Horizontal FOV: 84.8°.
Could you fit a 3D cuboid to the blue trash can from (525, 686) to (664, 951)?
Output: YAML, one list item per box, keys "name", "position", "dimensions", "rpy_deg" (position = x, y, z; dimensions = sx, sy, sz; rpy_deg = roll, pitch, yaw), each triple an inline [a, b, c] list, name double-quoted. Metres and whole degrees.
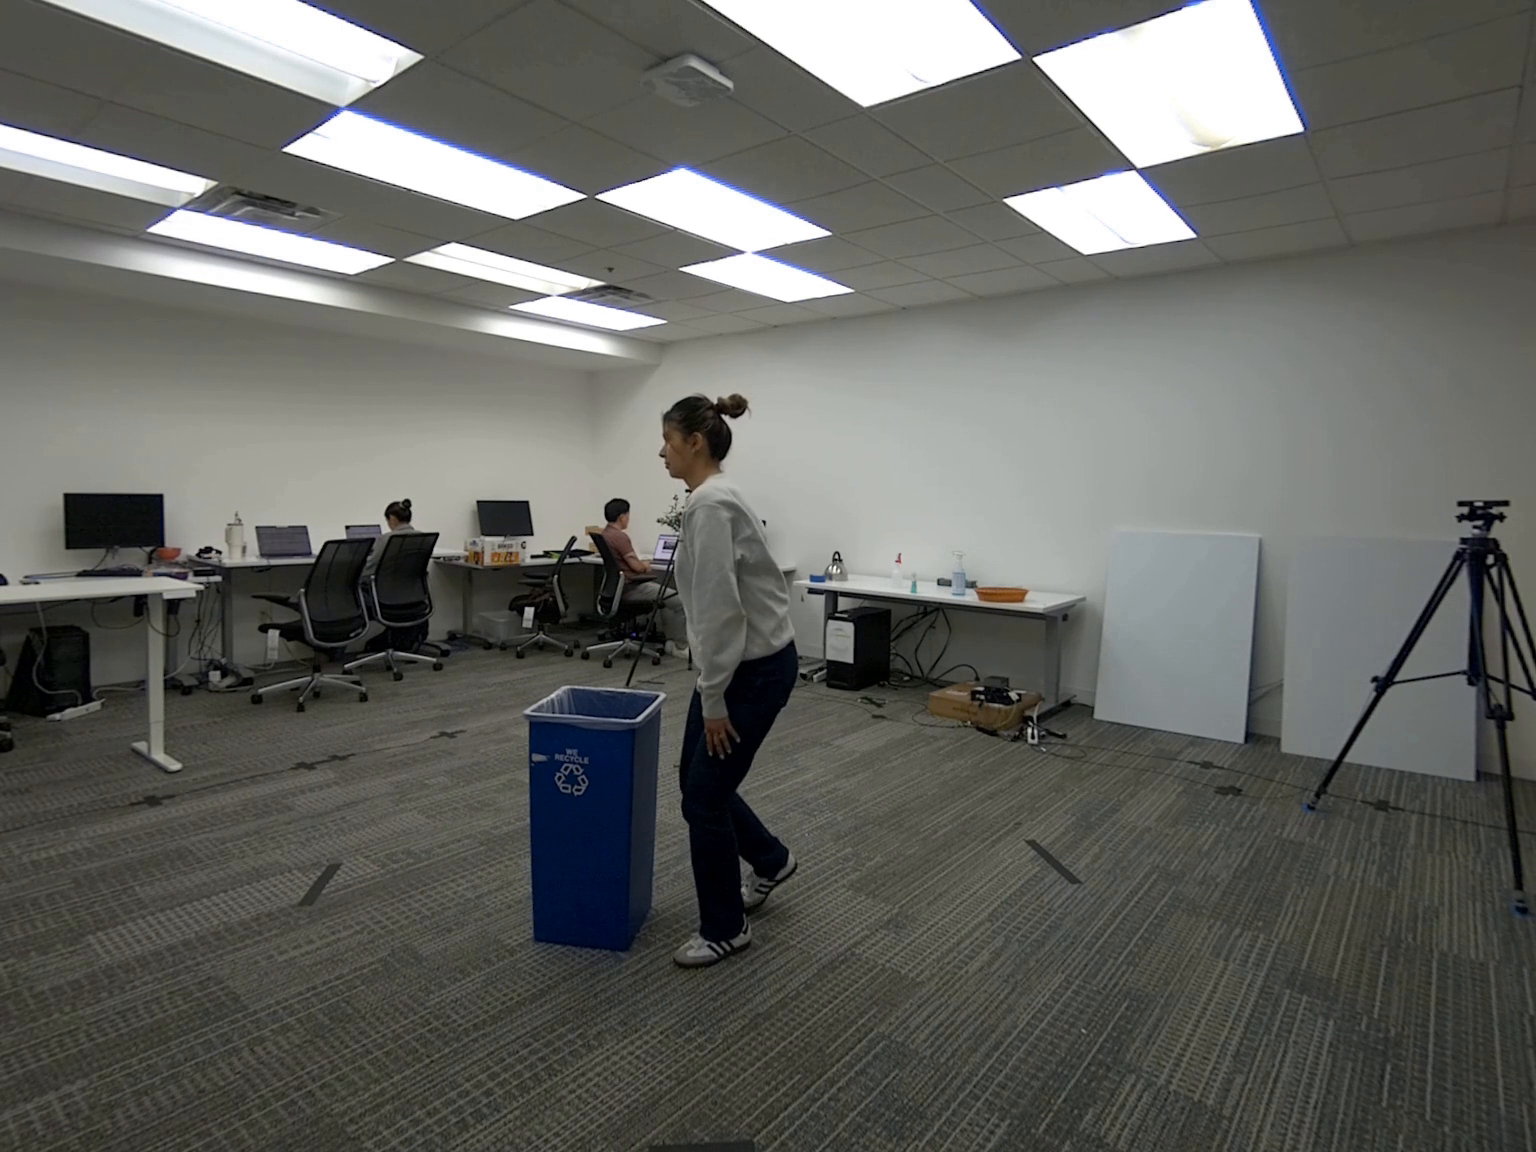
- name: "blue trash can"
  position: [-0.548, 0.750, 2.701]
  dimensions: [0.378, 0.711, 0.375]
  rpy_deg: [1, 3, 9]
